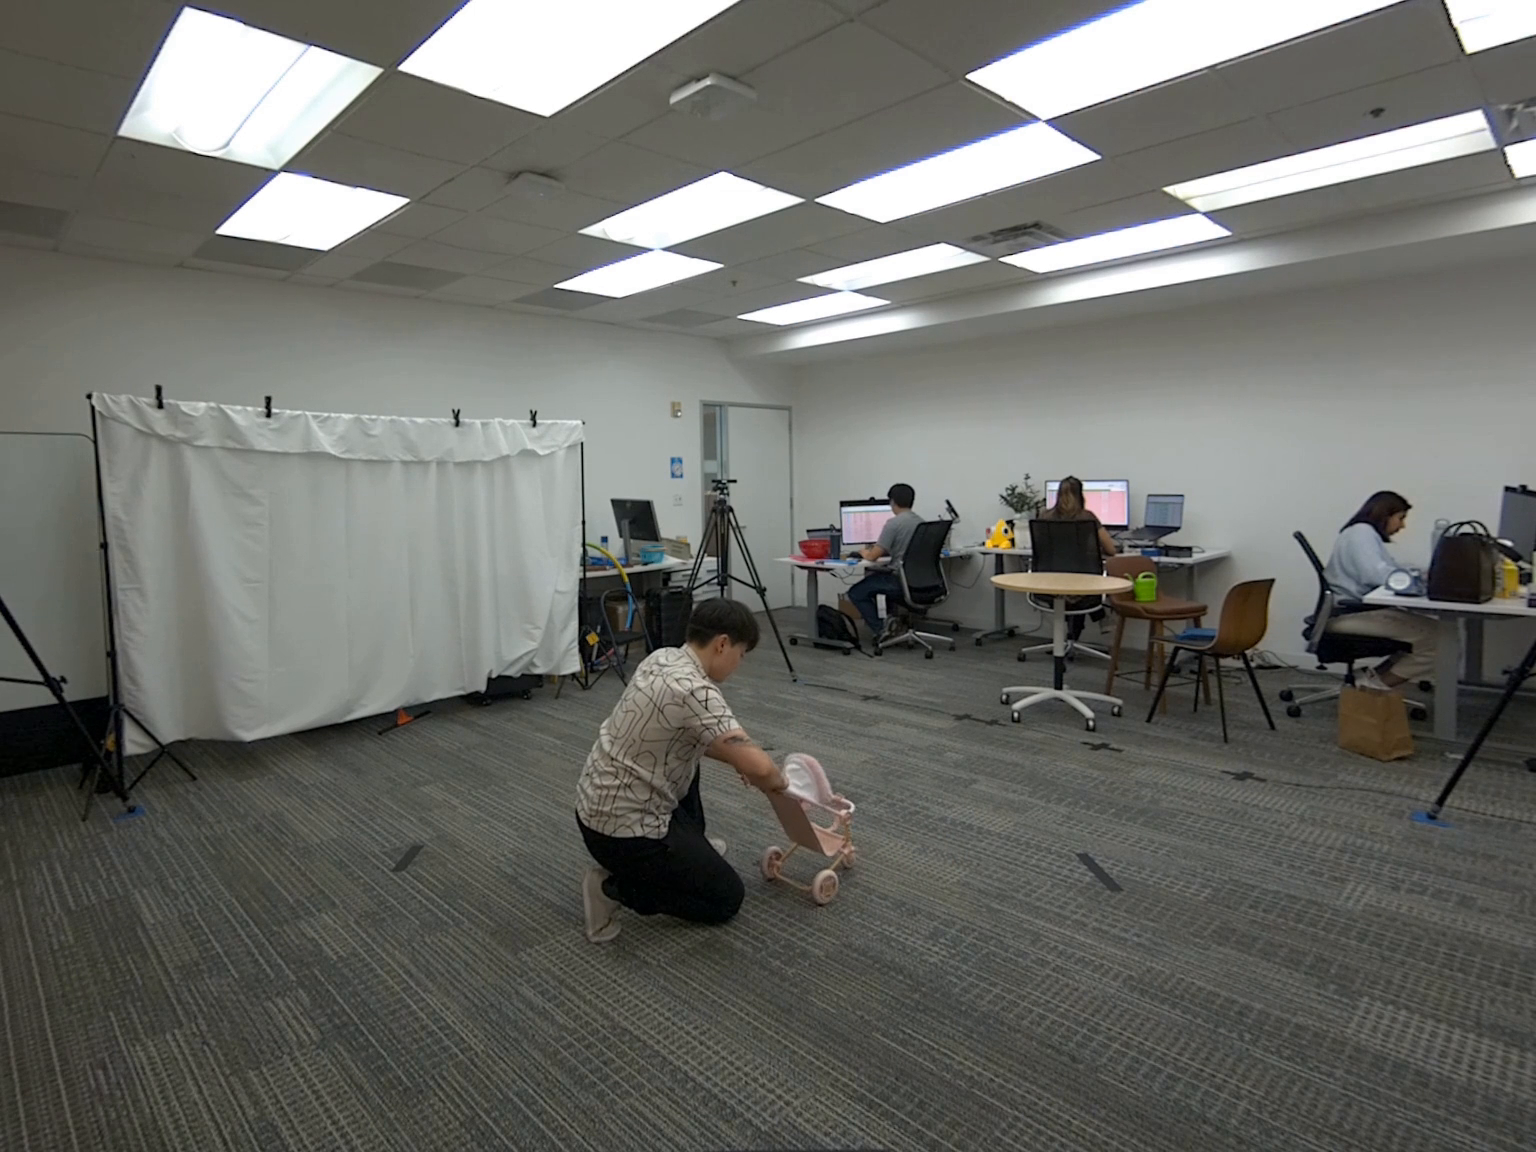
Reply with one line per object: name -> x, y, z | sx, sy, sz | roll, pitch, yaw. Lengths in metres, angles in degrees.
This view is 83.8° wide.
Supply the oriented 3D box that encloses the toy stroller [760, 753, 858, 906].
toy stroller -> 0.143, 0.834, 2.930 | 0.336, 0.527, 0.290 | -24, 16, -35
